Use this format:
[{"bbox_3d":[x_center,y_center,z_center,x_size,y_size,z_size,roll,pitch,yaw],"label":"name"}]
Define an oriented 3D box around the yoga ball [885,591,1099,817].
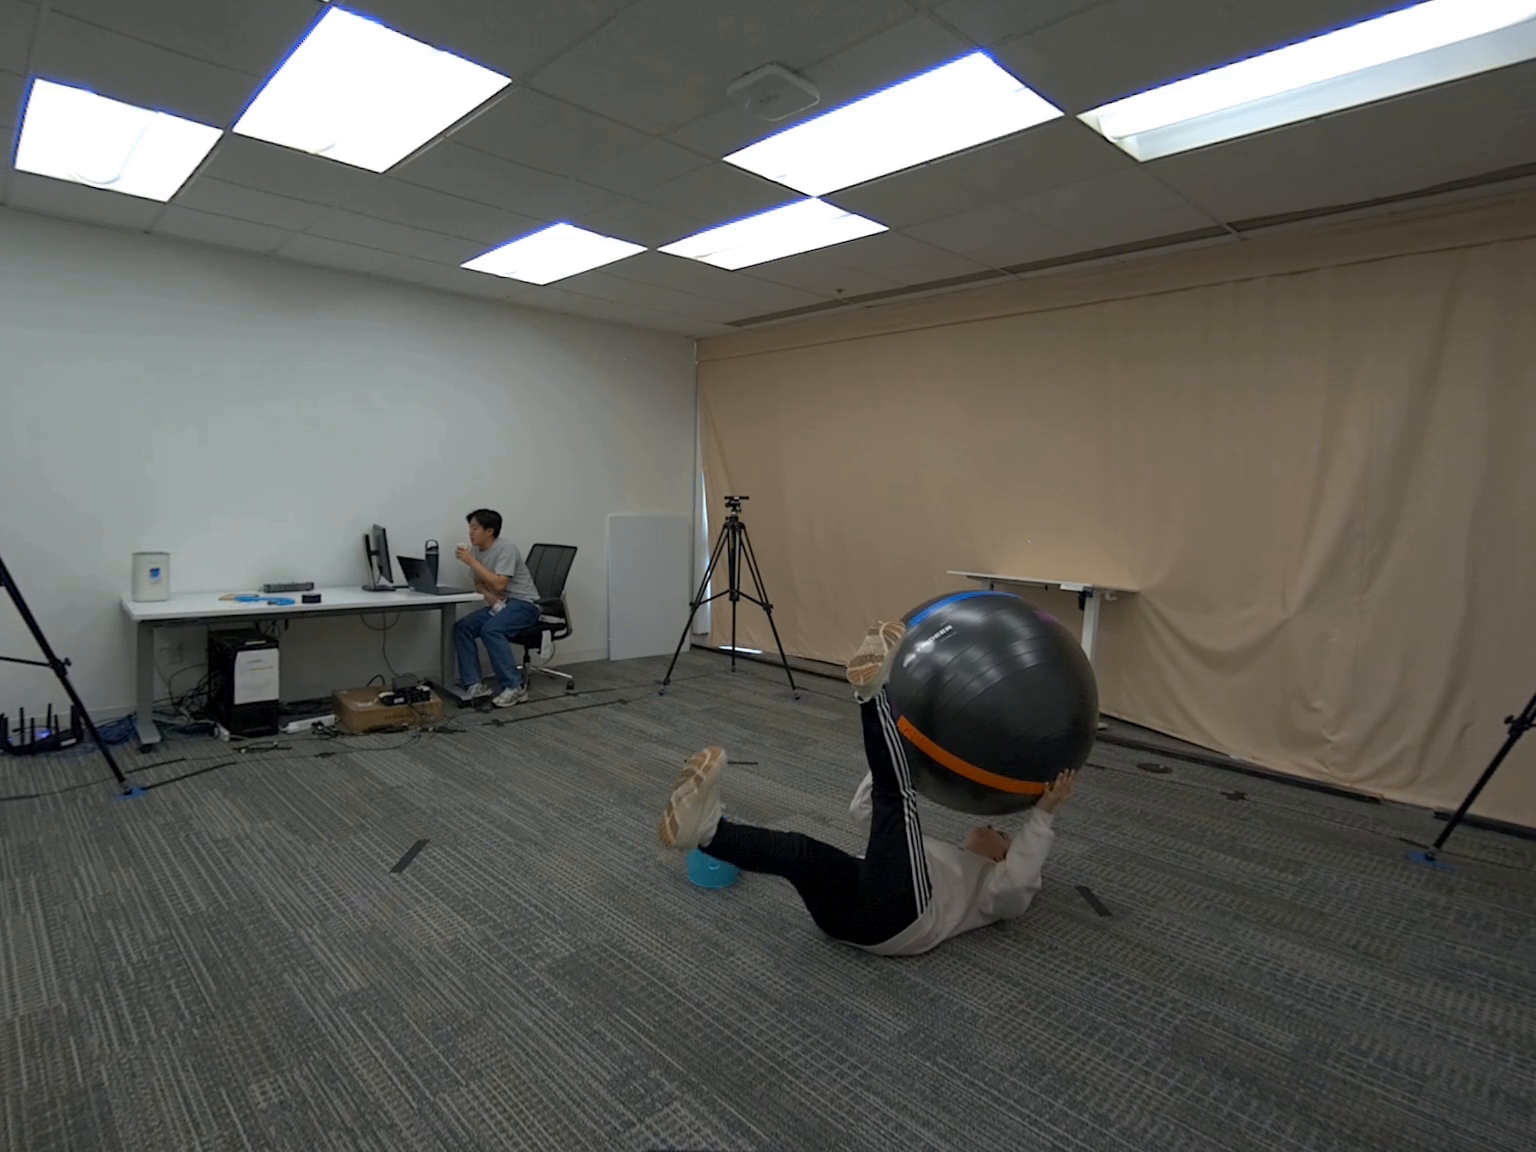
[{"bbox_3d":[0.731,0.430,2.888,0.757,0.756,0.761,1,4,-1],"label":"yoga ball"}]
